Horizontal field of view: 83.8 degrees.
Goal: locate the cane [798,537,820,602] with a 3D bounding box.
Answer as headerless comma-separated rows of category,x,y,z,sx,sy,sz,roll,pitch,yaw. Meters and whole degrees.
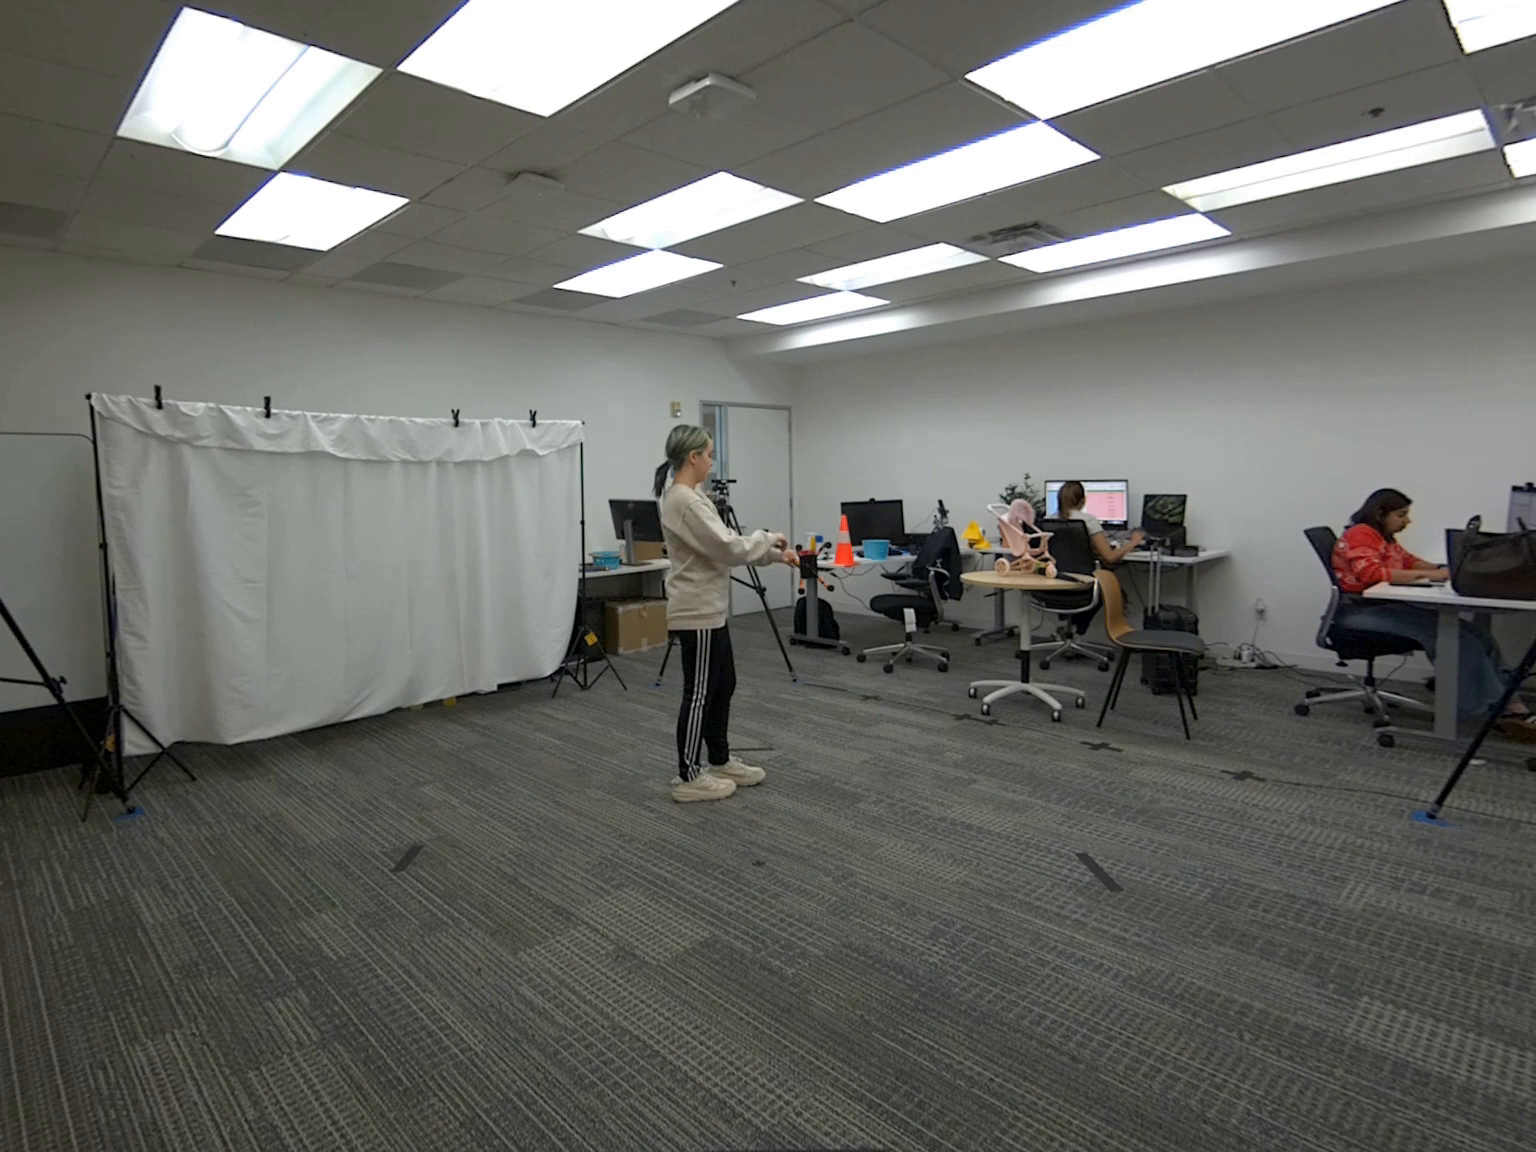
cane,0.096,-0.086,3.888,0.150,0.205,0.922,-3,7,-13
